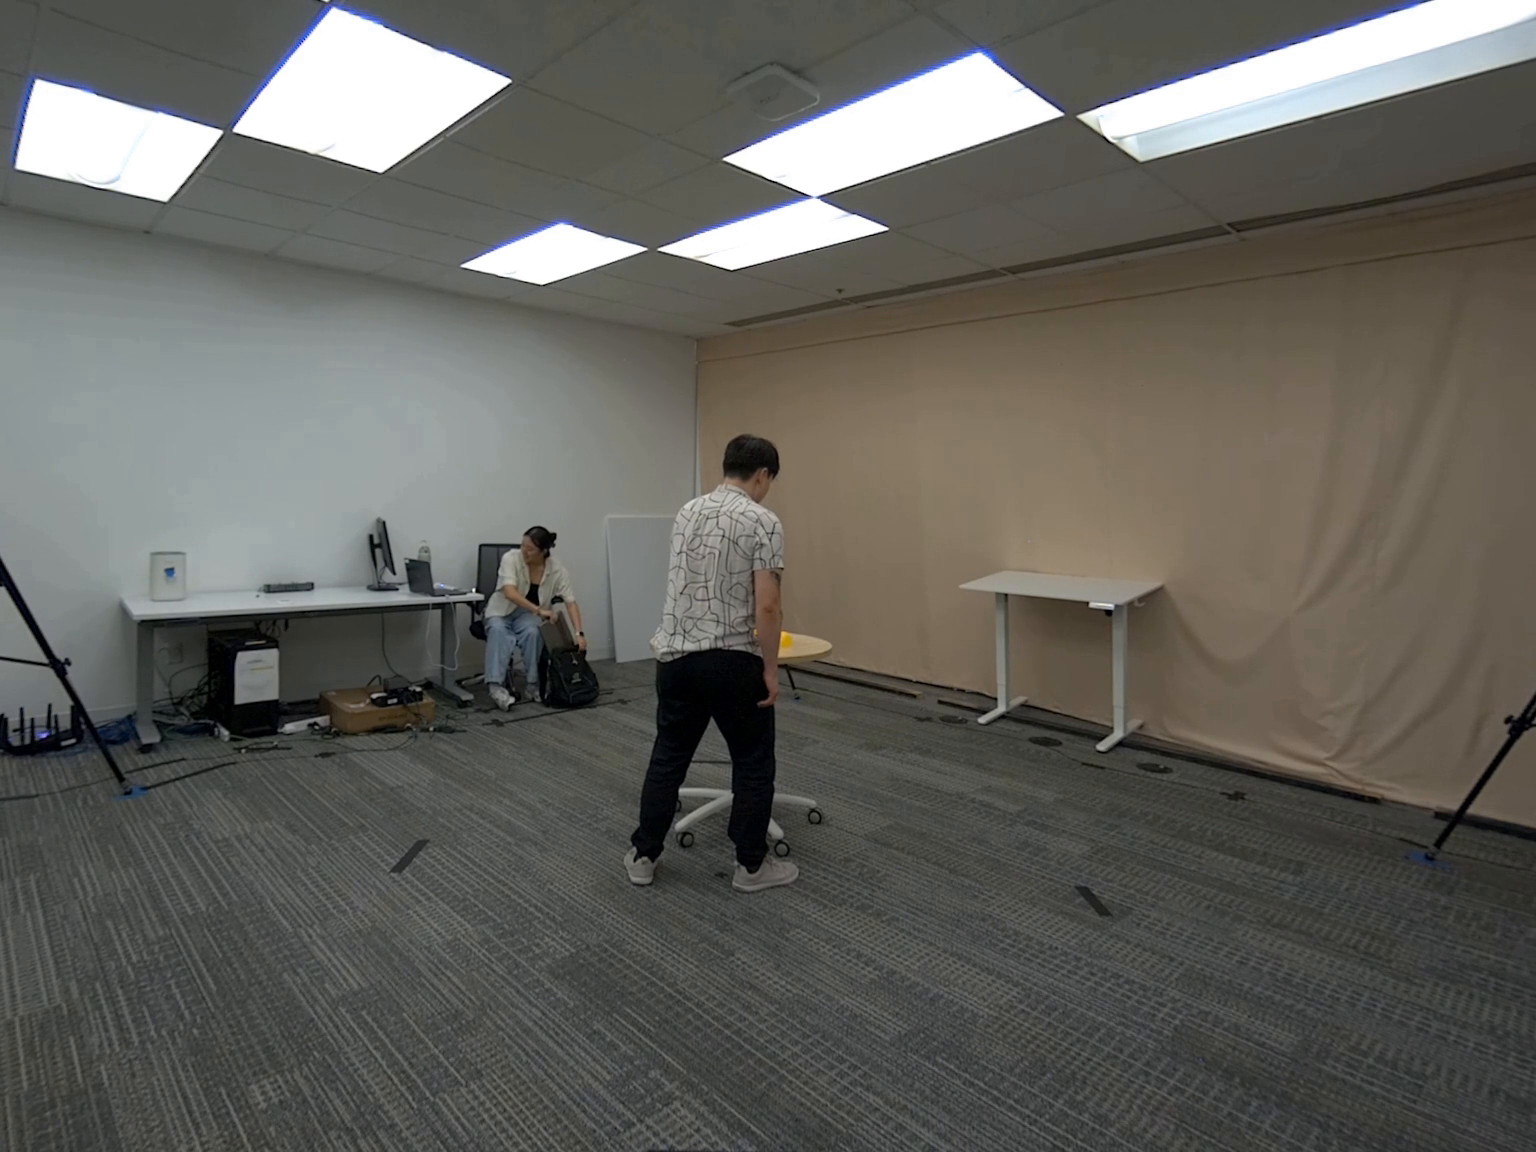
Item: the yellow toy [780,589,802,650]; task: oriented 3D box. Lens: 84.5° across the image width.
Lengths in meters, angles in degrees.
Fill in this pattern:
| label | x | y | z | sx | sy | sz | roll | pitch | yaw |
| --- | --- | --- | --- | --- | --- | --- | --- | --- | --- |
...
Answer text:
| label | x | y | z | sx | sy | sz | roll | pitch | yaw |
| --- | --- | --- | --- | --- | --- | --- | --- | --- | --- |
| yellow toy | -0.008 | 0.175 | 3.530 | 0.210 | 0.230 | 0.189 | 4 | 4 | 40 |
